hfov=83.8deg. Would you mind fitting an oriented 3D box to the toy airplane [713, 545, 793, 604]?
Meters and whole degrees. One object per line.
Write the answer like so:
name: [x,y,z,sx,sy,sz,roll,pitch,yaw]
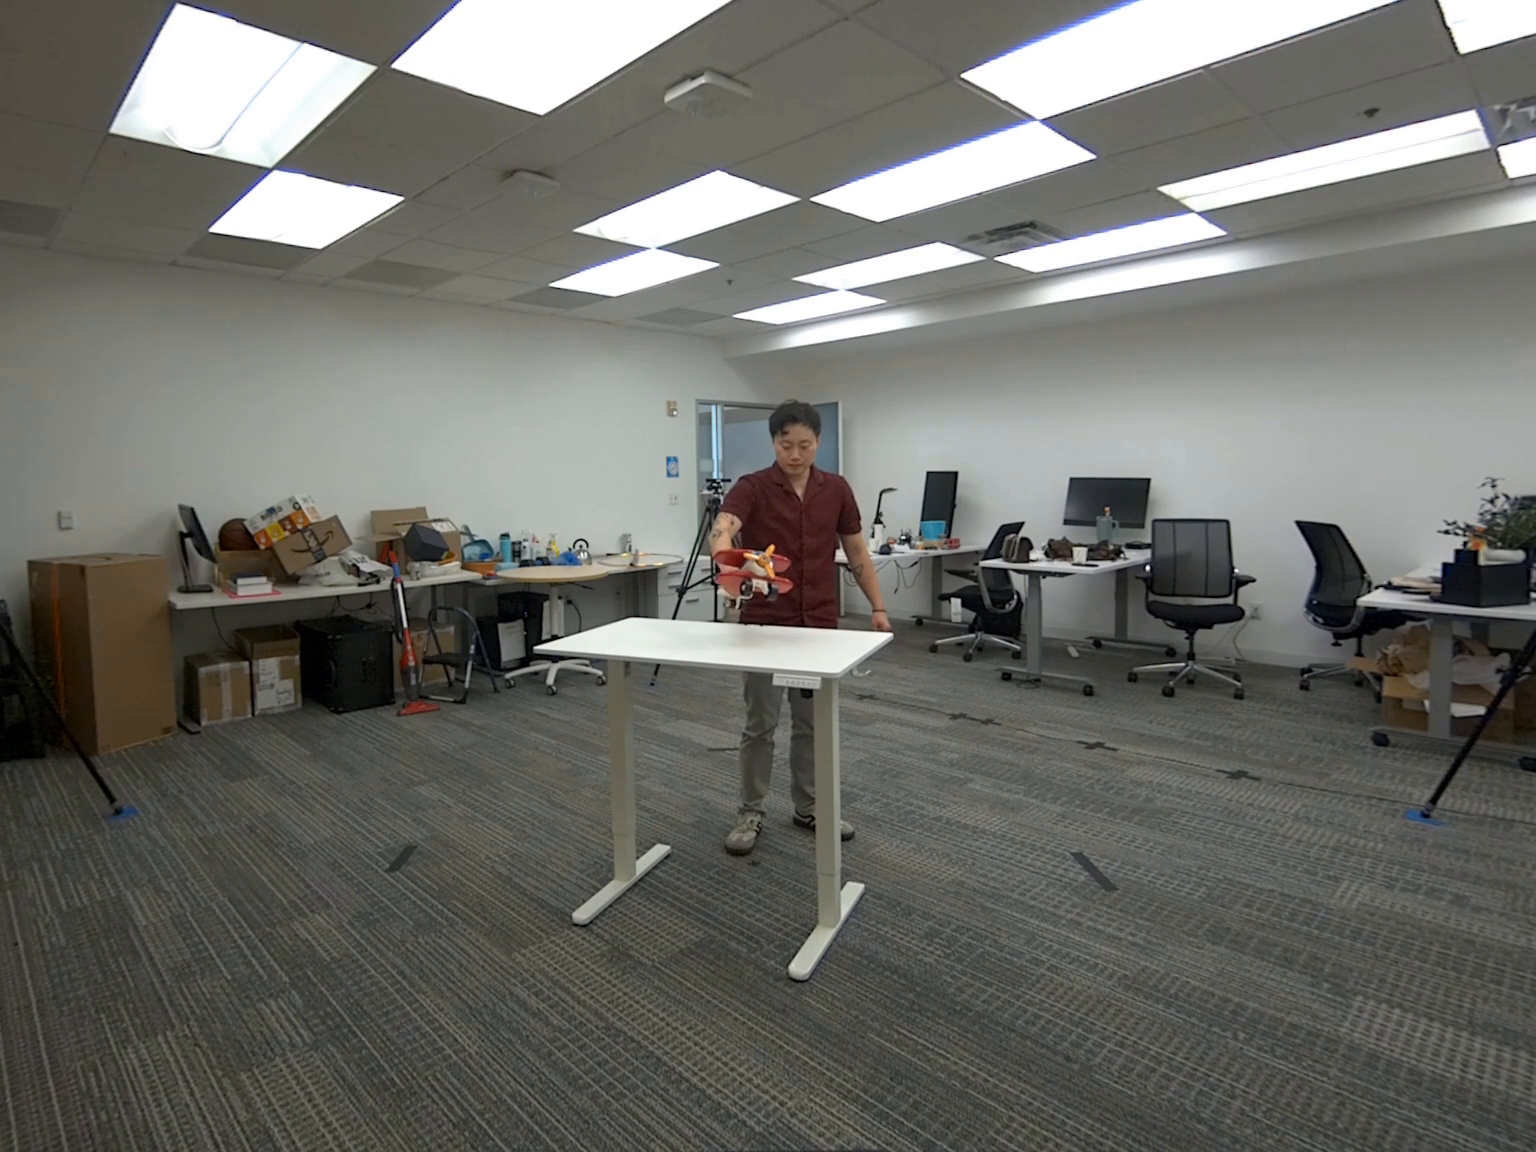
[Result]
toy airplane: [-0.071,0.012,2.719,0.265,0.159,0.242,-12,-21,40]
